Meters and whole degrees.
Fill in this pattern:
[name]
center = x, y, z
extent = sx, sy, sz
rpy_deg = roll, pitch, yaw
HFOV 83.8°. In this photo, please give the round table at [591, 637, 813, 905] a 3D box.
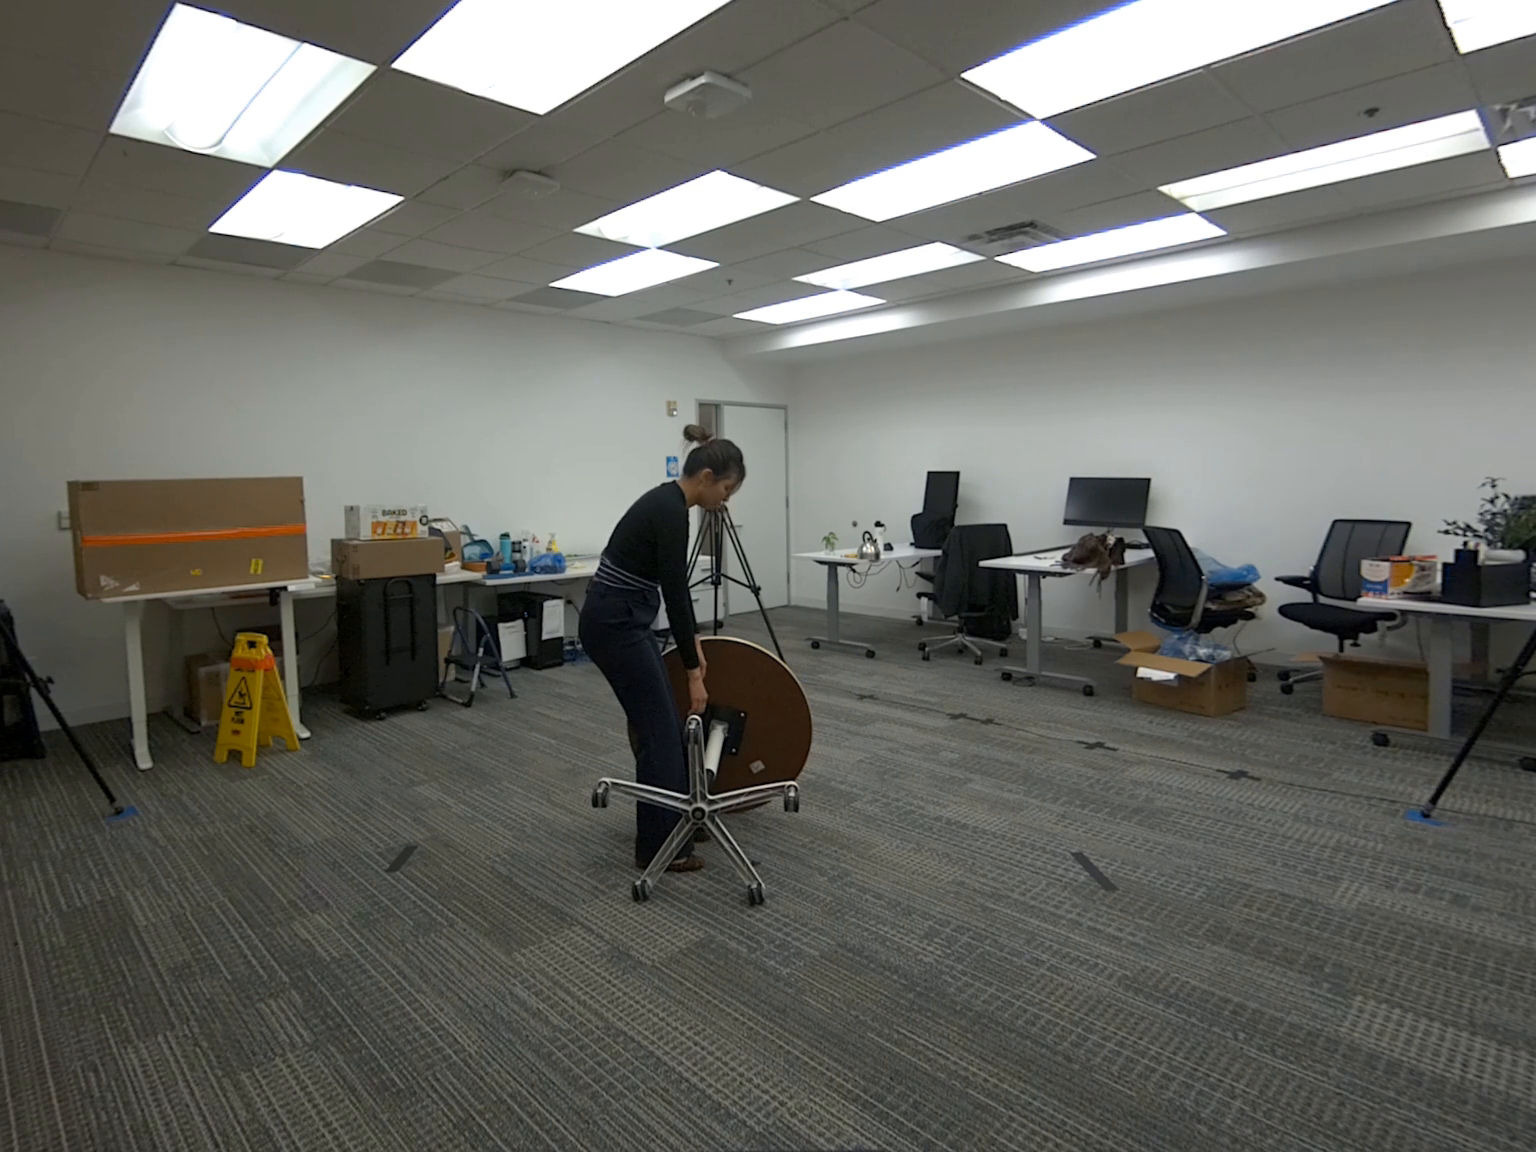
[round table]
center = -0.213, 0.715, 3.138
extent = 0.768, 0.756, 0.799
rpy_deg = -1, 12, 4
